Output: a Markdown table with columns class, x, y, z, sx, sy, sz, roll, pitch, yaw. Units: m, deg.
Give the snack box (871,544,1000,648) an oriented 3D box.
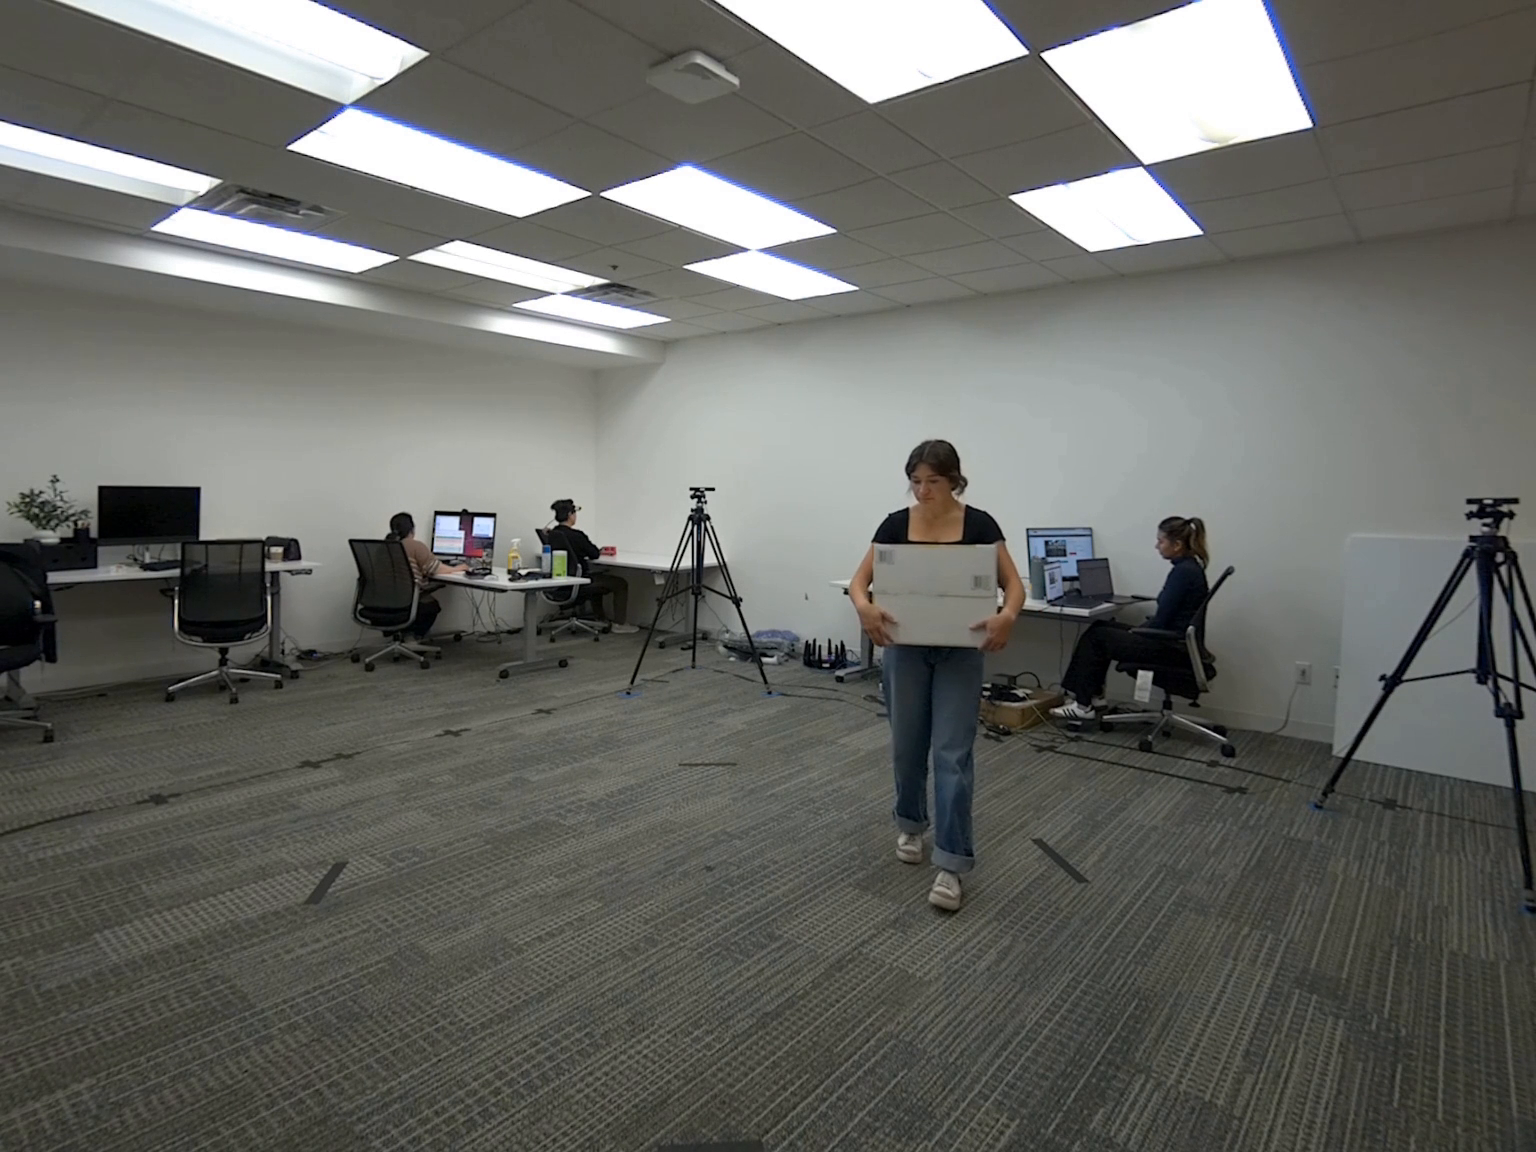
| class | x | y | z | sx | sy | sz | roll | pitch | yaw |
| --- | --- | --- | --- | --- | --- | --- | --- | --- | --- |
| snack box | 0.575 | 0.054 | 2.921 | 0.413 | 0.340 | 0.202 | 0 | 0 | 18 |
